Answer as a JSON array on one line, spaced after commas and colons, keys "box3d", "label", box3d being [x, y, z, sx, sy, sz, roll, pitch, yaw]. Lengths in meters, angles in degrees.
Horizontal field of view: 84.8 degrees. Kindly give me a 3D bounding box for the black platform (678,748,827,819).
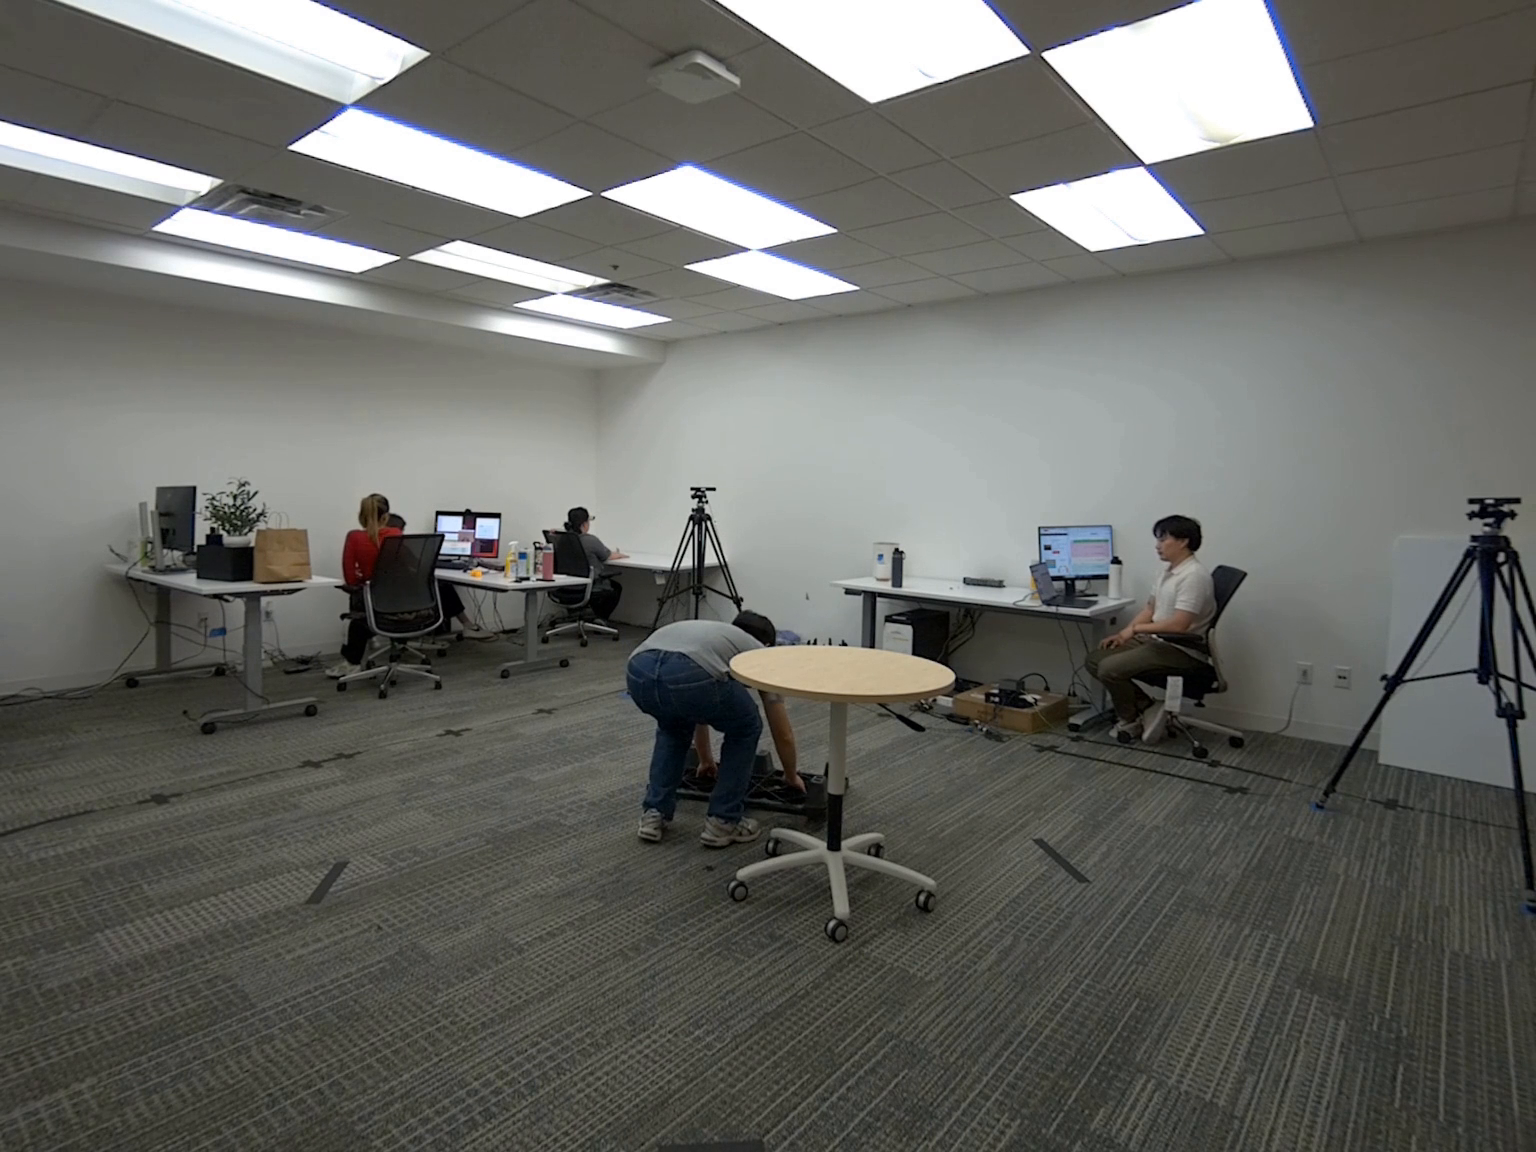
[{"box3d": [-0.084, 0.900, 3.866, 0.820, 0.143, 0.595, 3, 2, 16], "label": "black platform"}]
